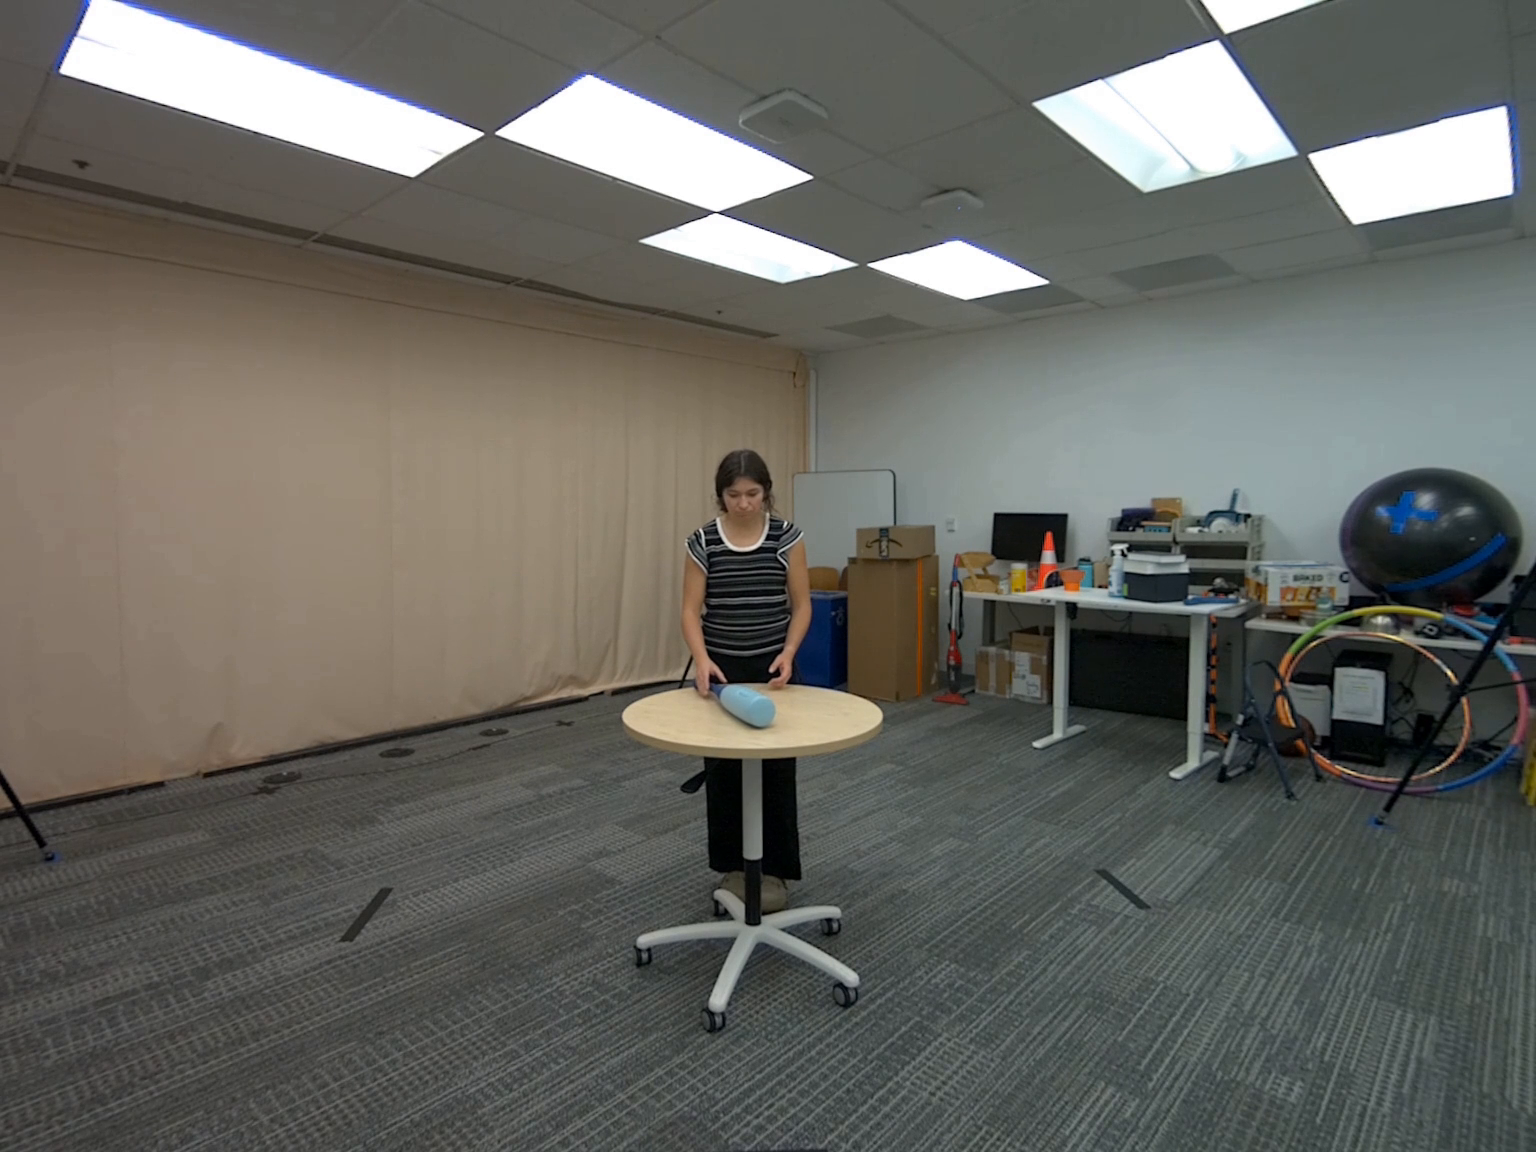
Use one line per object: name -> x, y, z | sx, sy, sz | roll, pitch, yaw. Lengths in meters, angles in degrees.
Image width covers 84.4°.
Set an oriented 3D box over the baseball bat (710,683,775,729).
baseball bat -> -0.123, 0.363, 2.533 | 0.087, 0.089, 0.556 | -2, 3, -24
